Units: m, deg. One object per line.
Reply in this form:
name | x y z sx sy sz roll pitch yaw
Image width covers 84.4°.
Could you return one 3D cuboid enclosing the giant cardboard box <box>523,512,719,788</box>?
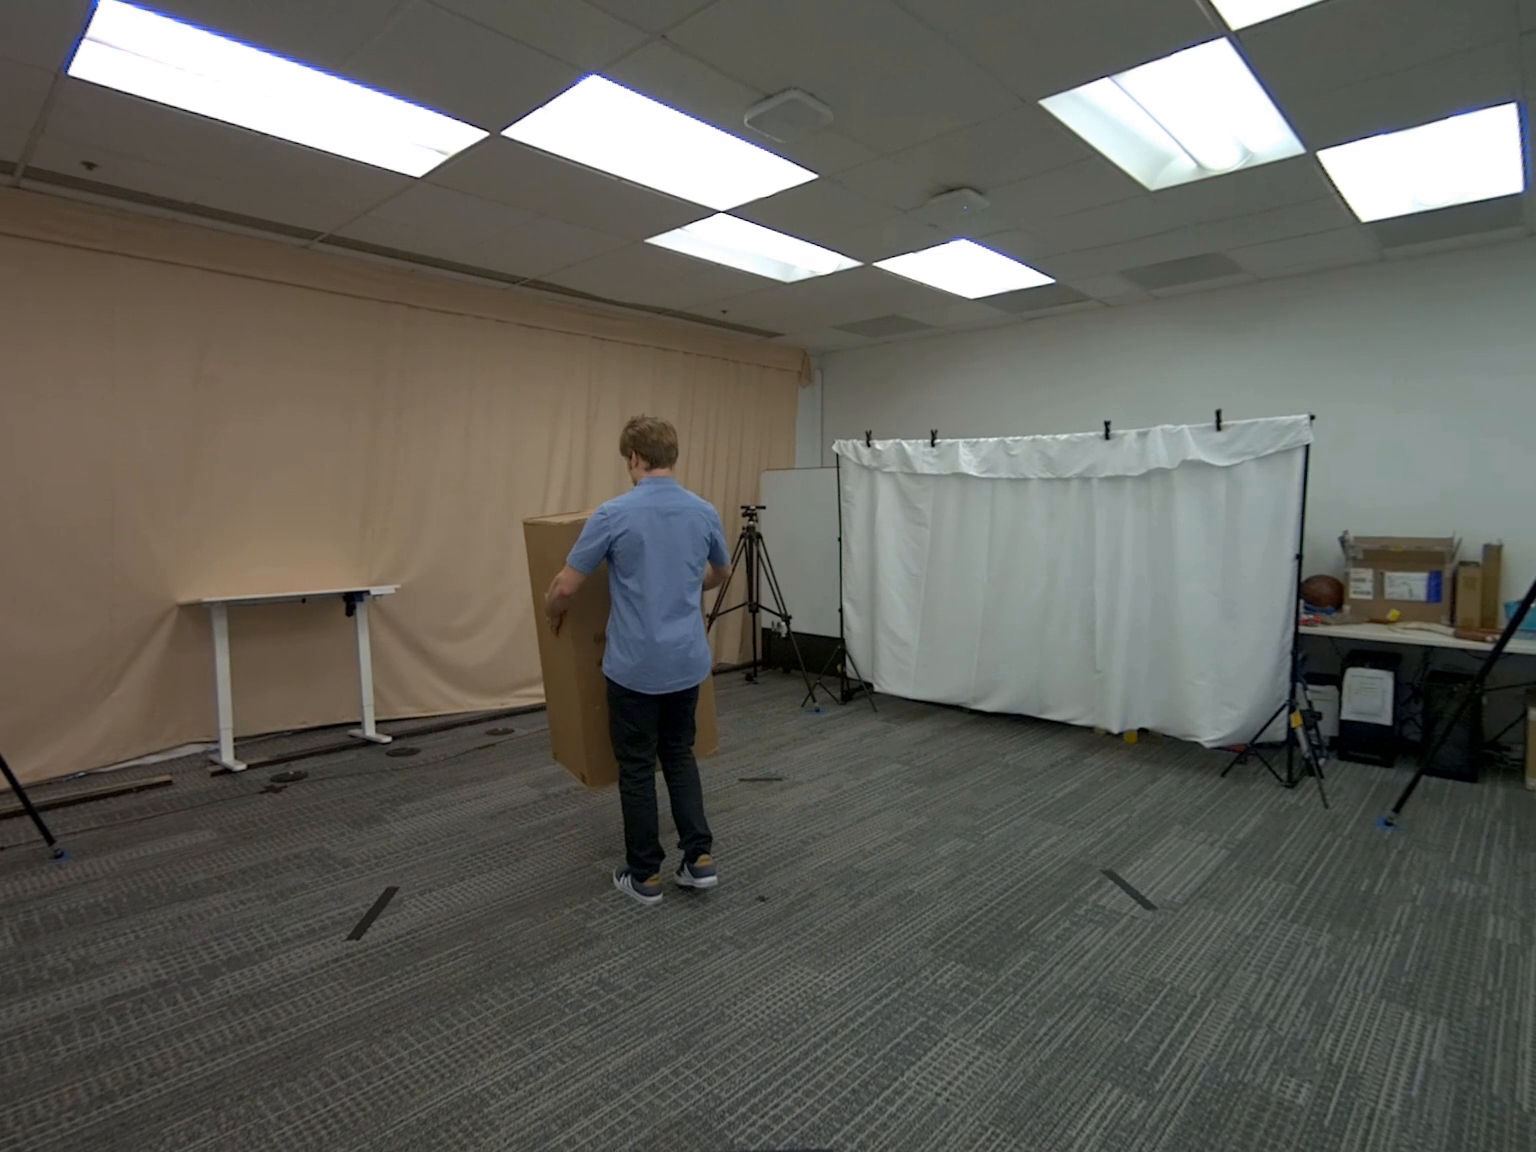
giant cardboard box | -0.598 0.249 3.415 0.563 1.020 0.439 -9 8 -30
